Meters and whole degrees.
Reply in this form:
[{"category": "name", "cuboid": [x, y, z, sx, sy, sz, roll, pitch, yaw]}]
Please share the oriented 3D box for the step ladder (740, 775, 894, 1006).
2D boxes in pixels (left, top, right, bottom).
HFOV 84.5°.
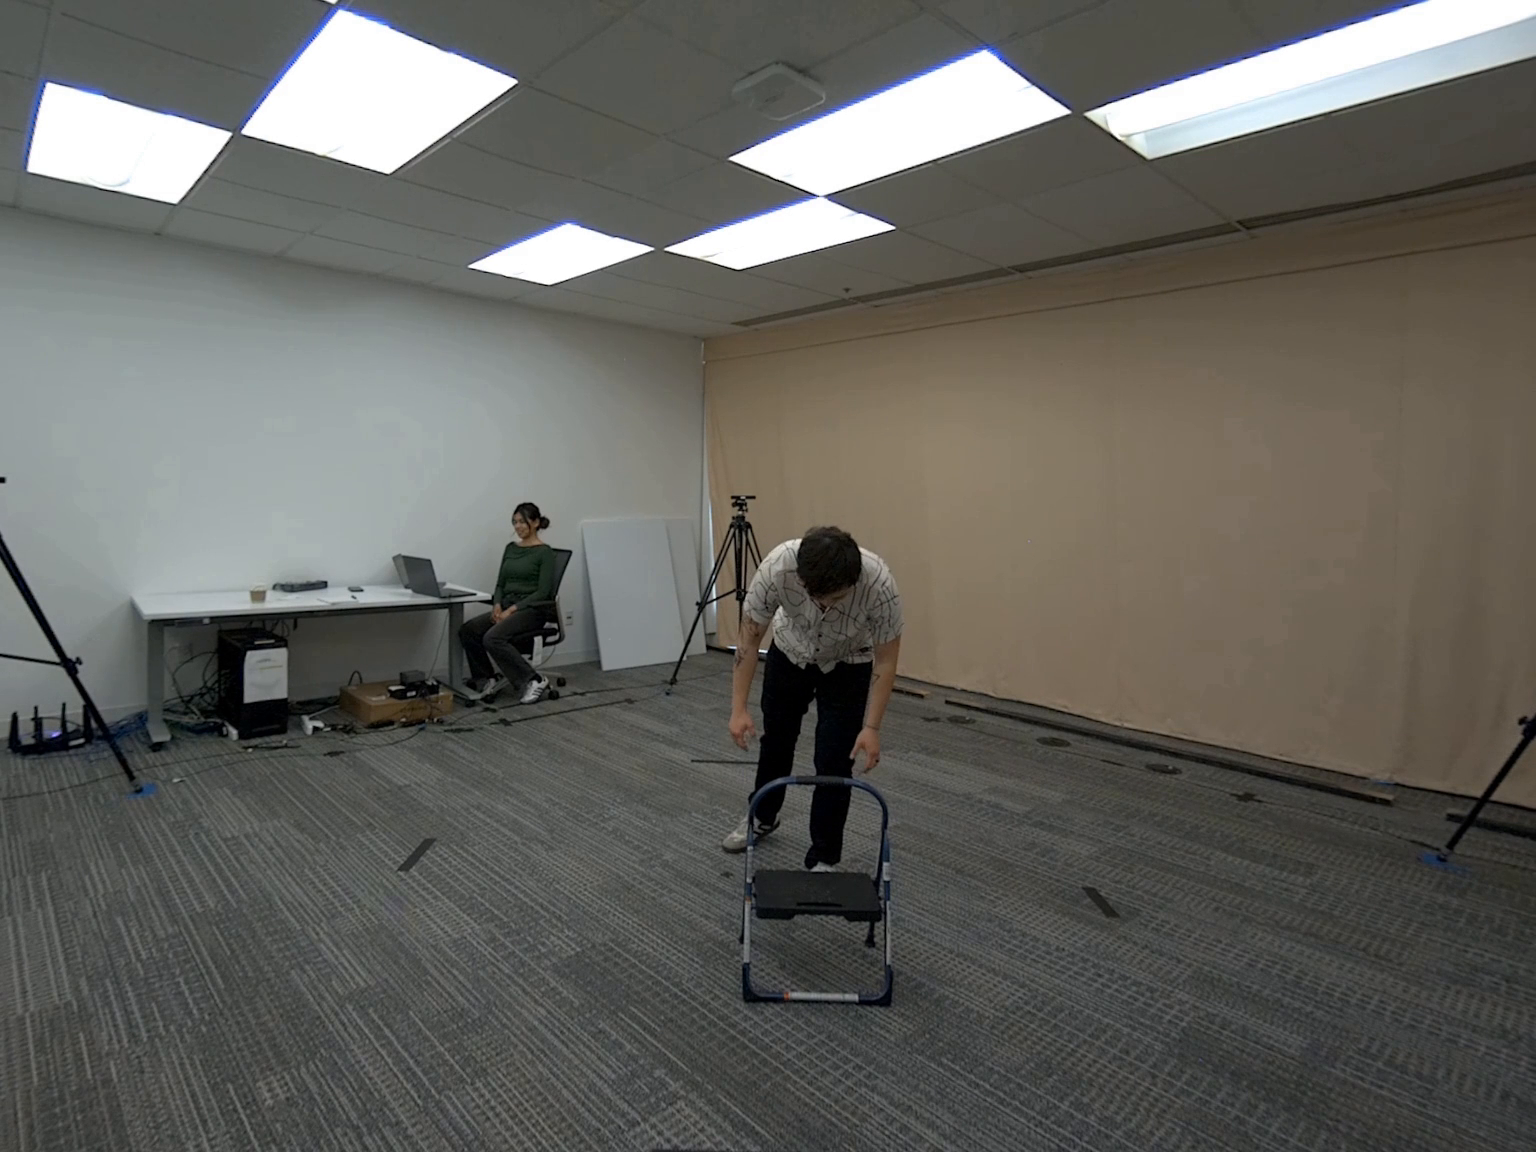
[{"category": "step ladder", "cuboid": [0.131, 0.867, 2.465, 0.430, 0.605, 0.350, 1, 3, -1]}]
